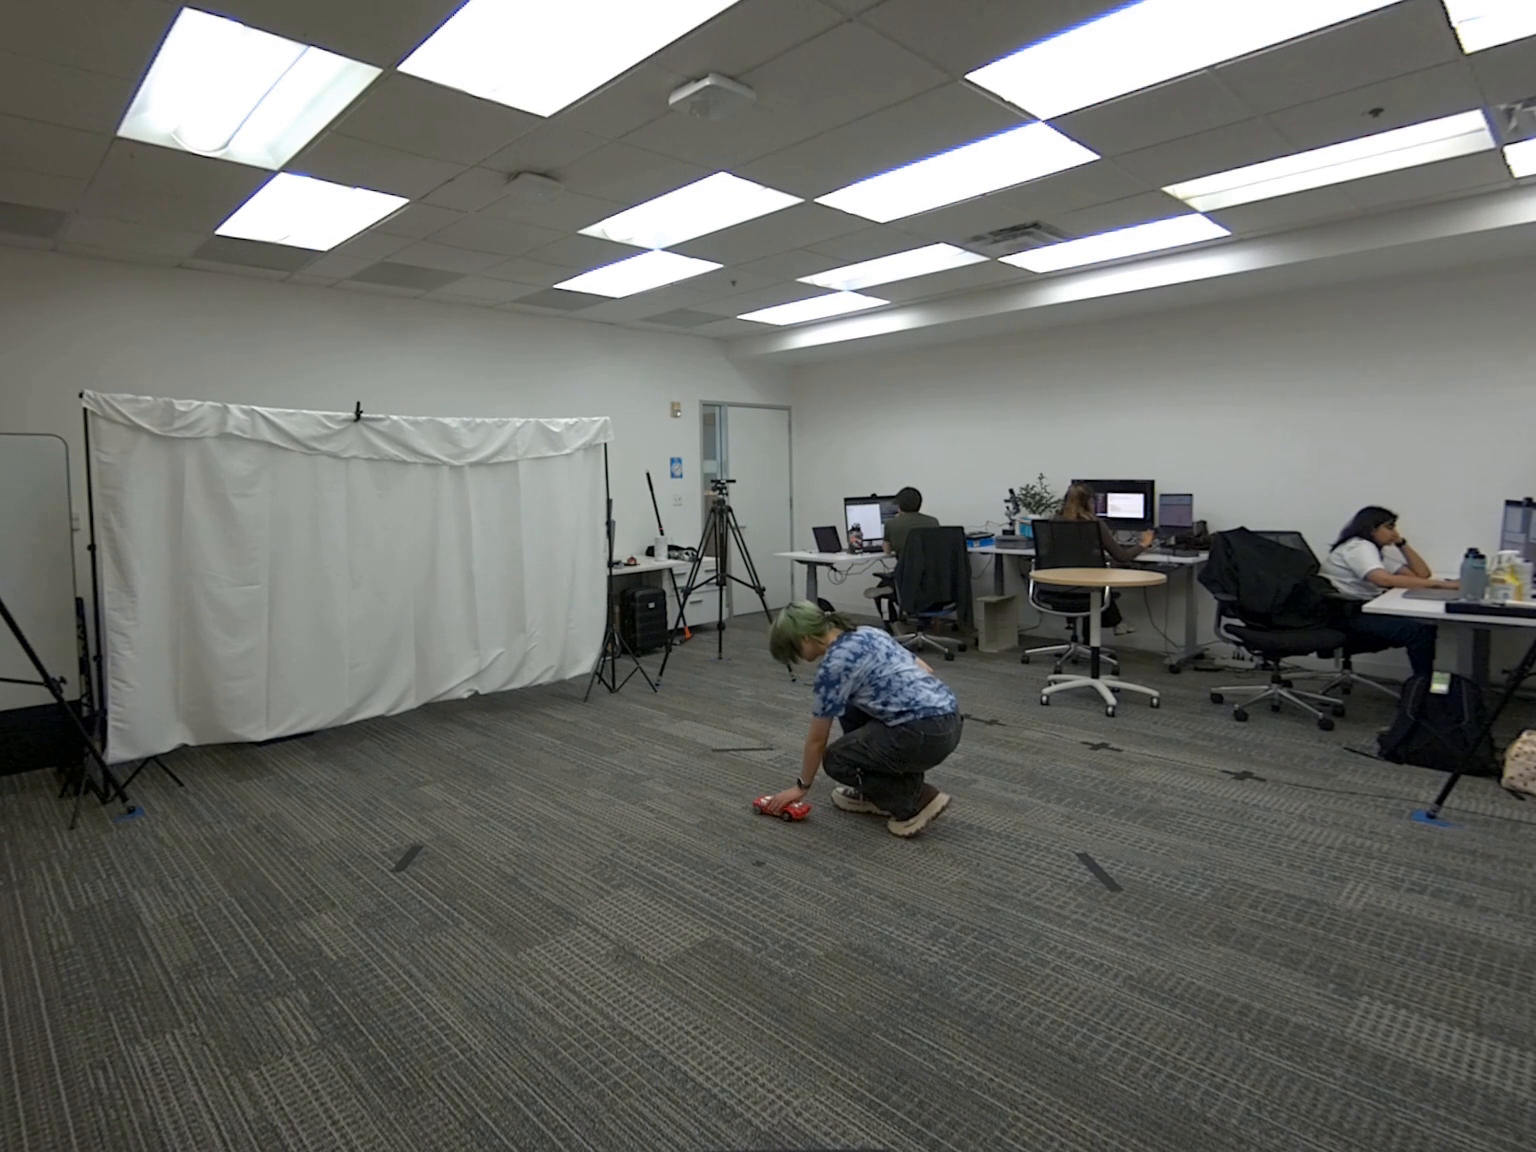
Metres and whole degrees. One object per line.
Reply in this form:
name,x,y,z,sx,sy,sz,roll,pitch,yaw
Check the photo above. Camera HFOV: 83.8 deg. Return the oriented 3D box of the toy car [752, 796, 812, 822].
toy car,0.065,0.965,3.561,0.260,0.083,0.127,-8,1,37
